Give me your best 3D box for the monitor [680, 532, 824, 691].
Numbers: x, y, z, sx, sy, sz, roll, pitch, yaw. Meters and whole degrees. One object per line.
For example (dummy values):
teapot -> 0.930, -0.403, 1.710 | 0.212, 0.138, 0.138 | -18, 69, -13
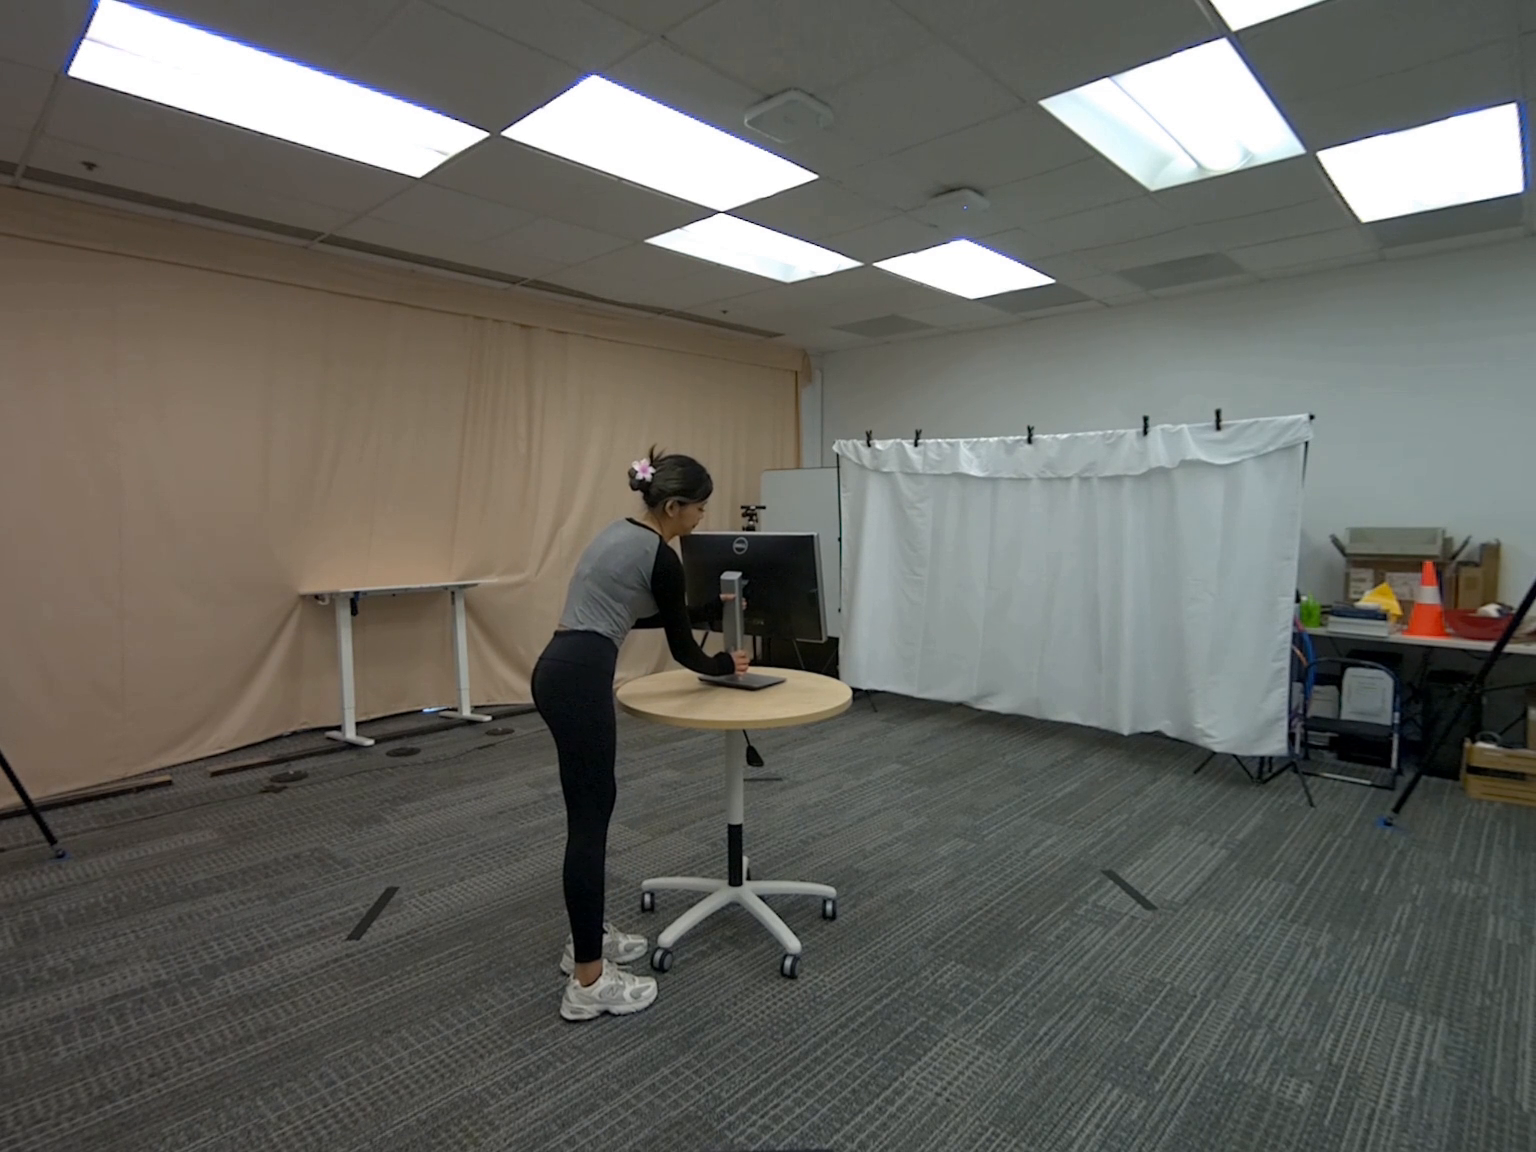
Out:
monitor -> -0.083, 0.114, 2.851 | 0.556, 0.523, 0.181 | 2, -2, 34
